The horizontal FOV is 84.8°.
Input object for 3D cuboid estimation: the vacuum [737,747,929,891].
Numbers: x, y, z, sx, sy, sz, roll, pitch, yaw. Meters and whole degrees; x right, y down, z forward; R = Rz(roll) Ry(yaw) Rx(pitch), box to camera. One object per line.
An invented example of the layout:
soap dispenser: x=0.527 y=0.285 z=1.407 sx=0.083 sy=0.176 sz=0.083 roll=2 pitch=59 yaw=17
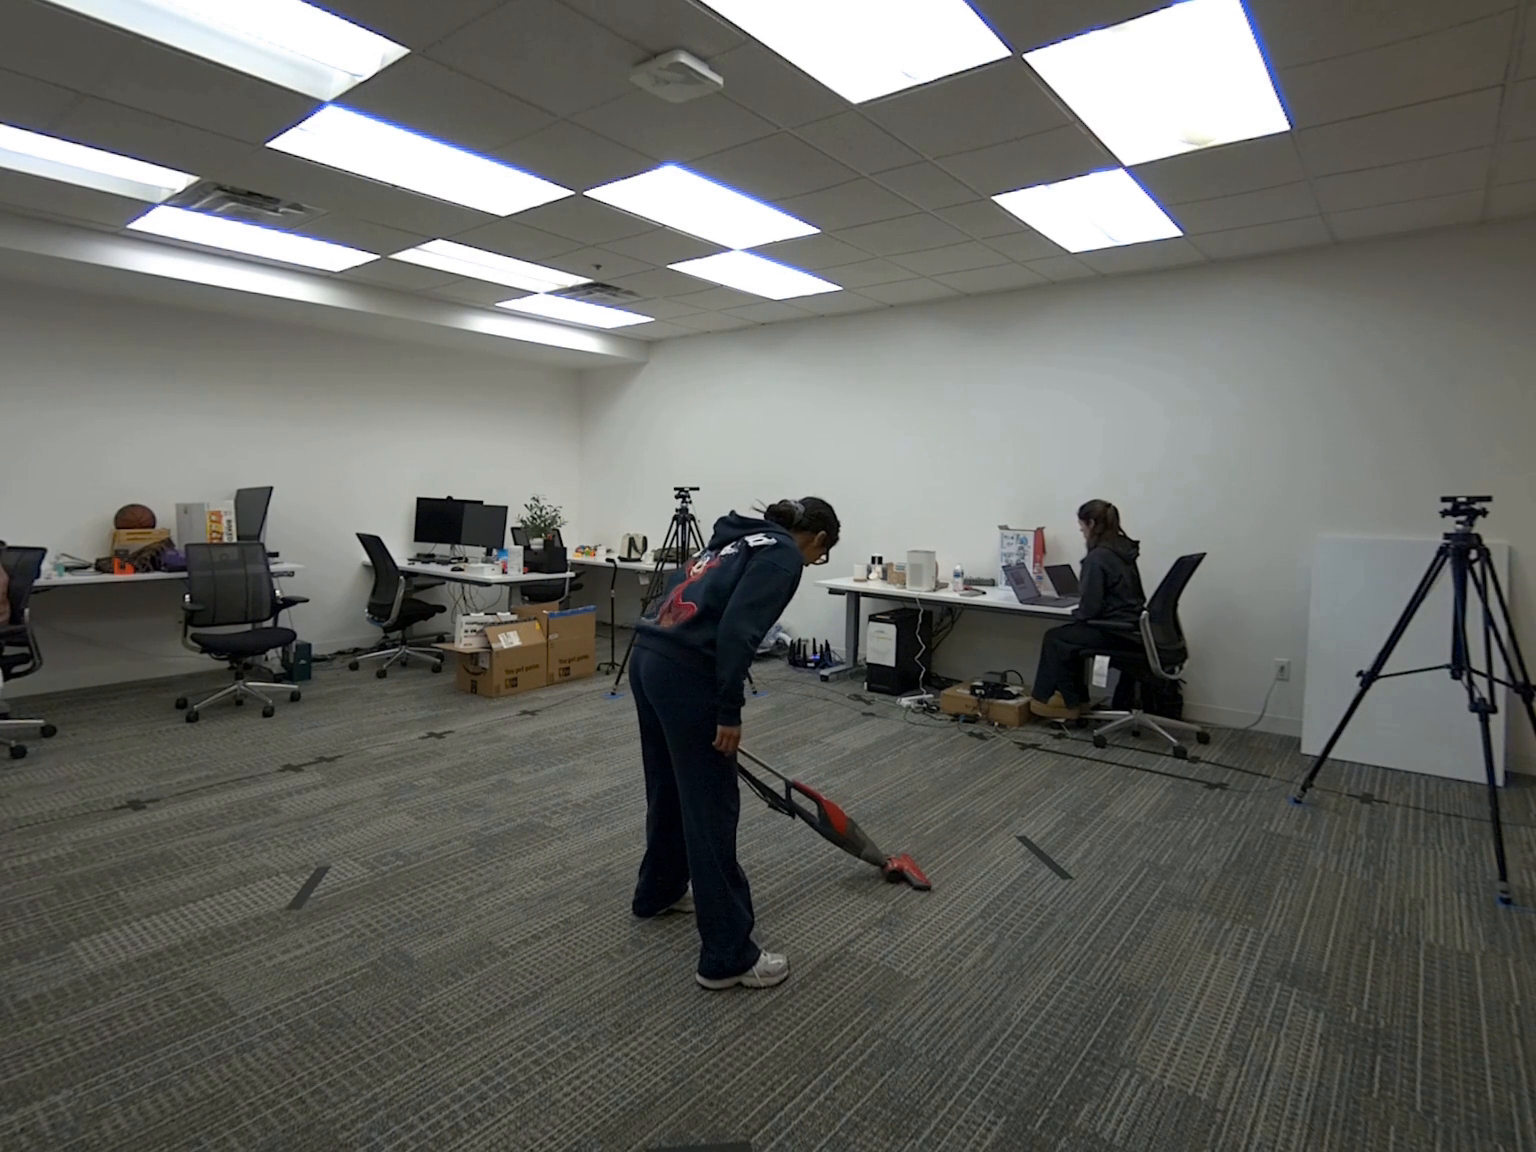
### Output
vacuum: x=0.055 y=0.775 z=3.042 sx=1.041 sy=0.144 sz=0.255 roll=35 pitch=4 yaw=-6
